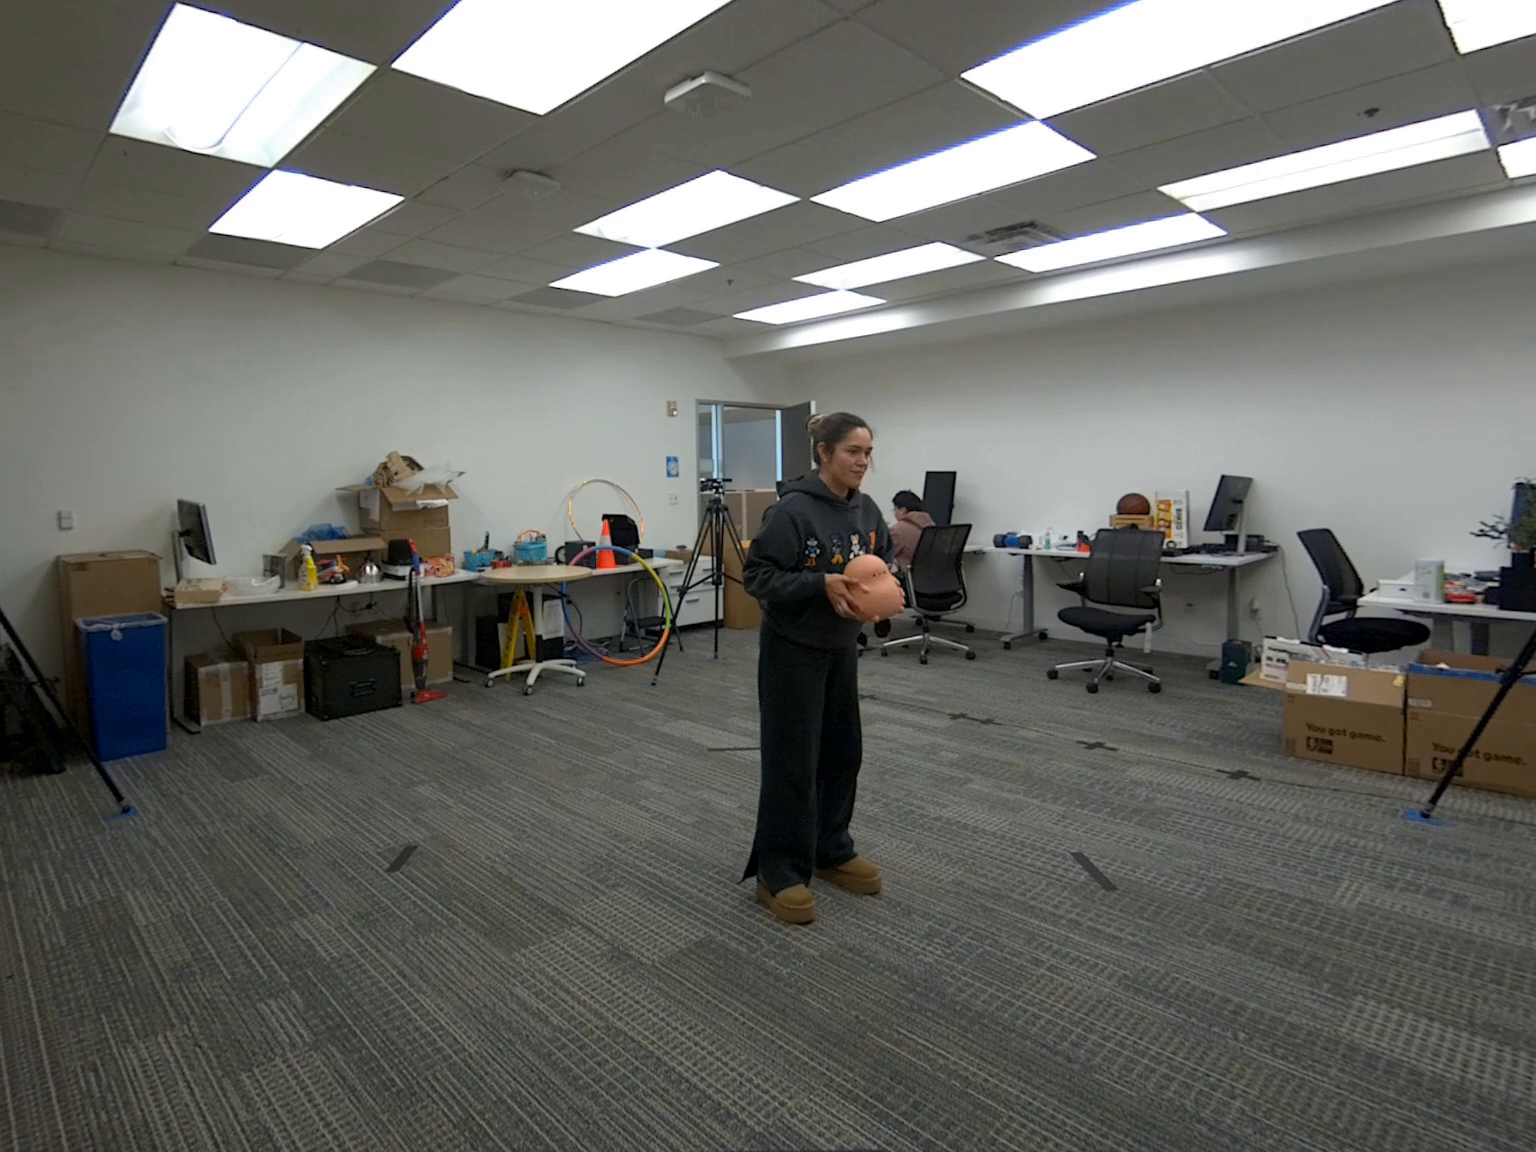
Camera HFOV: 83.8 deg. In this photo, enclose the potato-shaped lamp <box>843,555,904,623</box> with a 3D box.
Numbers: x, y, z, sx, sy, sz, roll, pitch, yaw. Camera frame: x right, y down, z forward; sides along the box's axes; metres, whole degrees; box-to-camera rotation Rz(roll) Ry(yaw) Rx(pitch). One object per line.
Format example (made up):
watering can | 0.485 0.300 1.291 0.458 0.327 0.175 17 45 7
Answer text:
potato-shaped lamp | 0.303 0.043 2.608 0.162 0.197 0.175 -16 7 -28
